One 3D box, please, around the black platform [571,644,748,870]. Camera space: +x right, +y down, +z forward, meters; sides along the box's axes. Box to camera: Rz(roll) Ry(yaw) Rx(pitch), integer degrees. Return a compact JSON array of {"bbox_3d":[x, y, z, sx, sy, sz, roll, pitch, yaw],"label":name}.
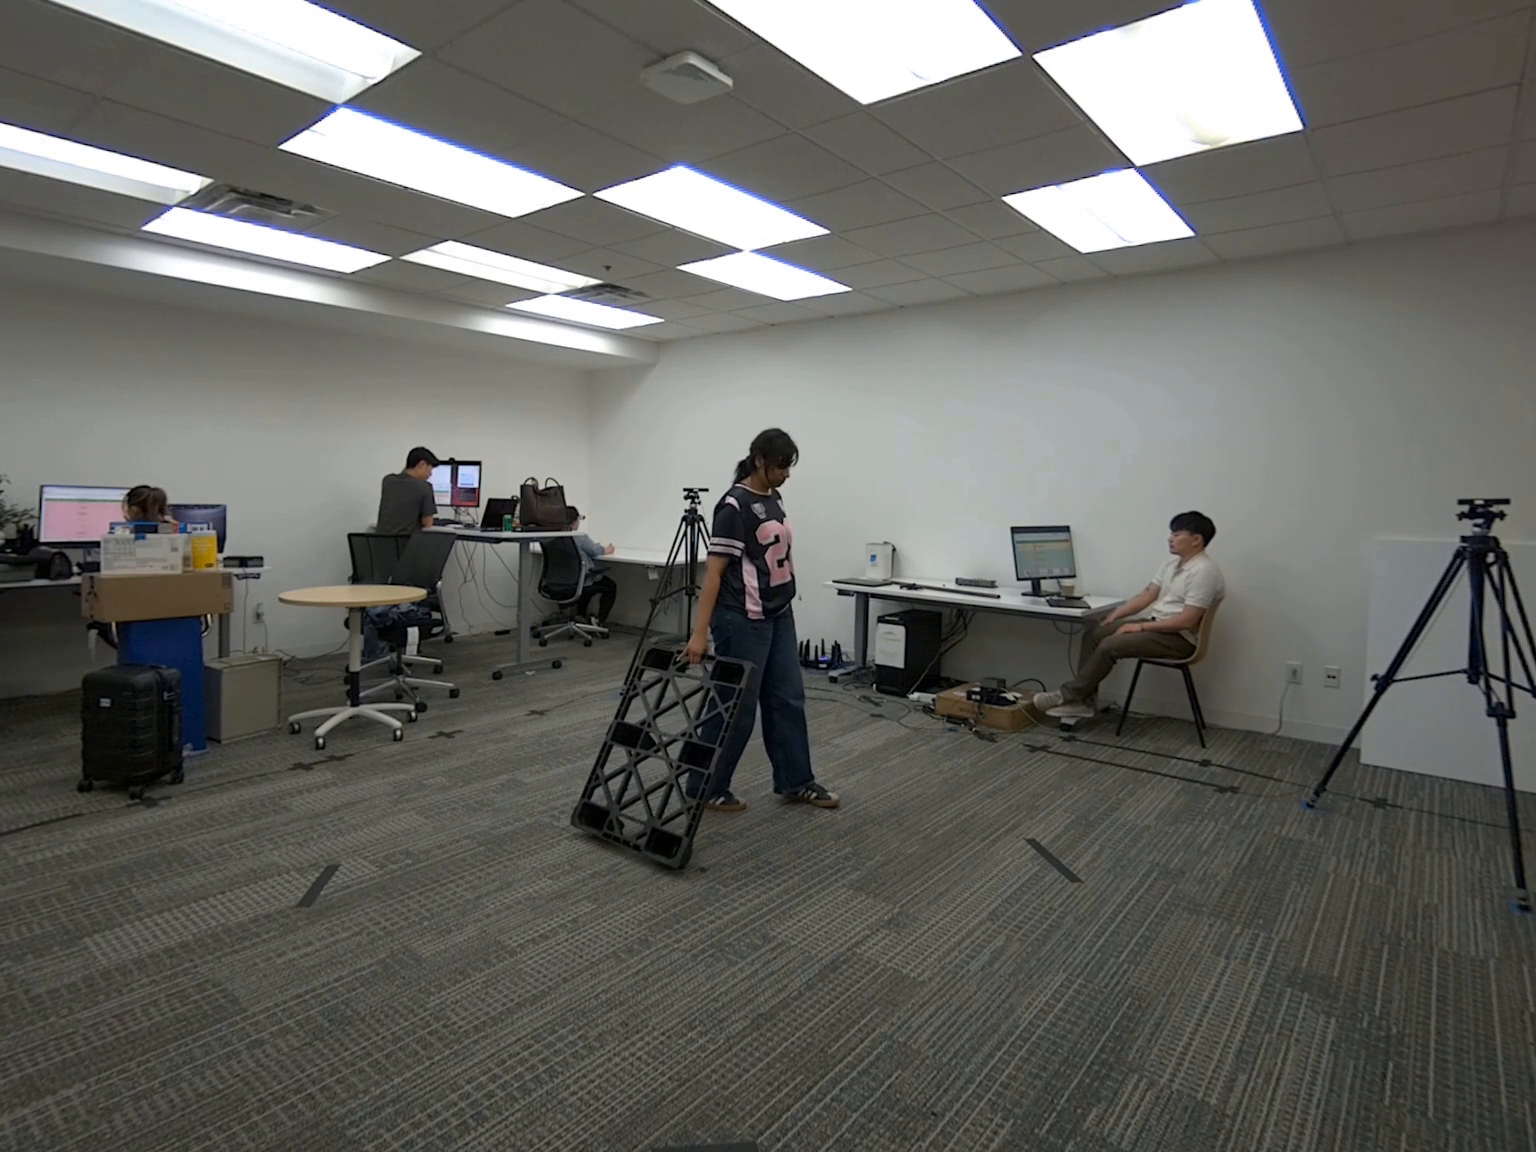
[{"bbox_3d":[-0.407,0.690,3.396,0.625,0.814,0.137,3,-27,39],"label":"black platform"}]
